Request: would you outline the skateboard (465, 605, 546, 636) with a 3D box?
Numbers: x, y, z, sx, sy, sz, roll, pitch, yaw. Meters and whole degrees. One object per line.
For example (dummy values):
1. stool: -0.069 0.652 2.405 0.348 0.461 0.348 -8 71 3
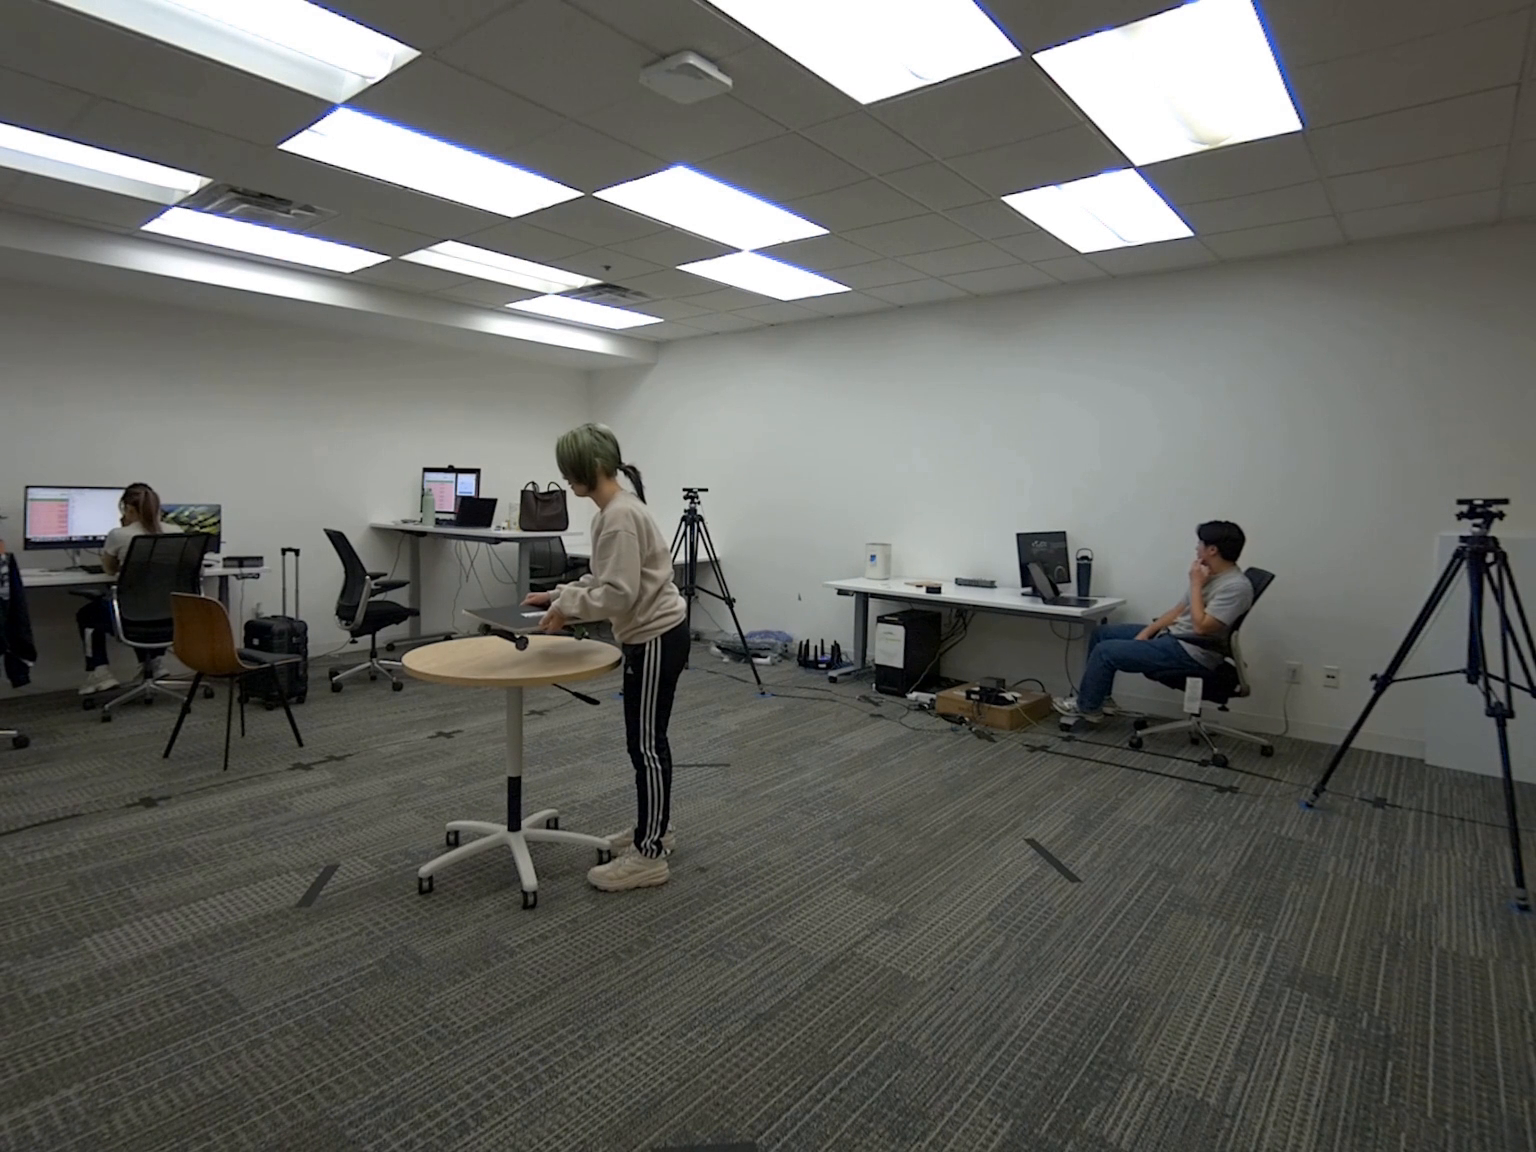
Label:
1. skateboard: -0.835 0.174 3.028 0.197 0.110 0.771 17 5 15
